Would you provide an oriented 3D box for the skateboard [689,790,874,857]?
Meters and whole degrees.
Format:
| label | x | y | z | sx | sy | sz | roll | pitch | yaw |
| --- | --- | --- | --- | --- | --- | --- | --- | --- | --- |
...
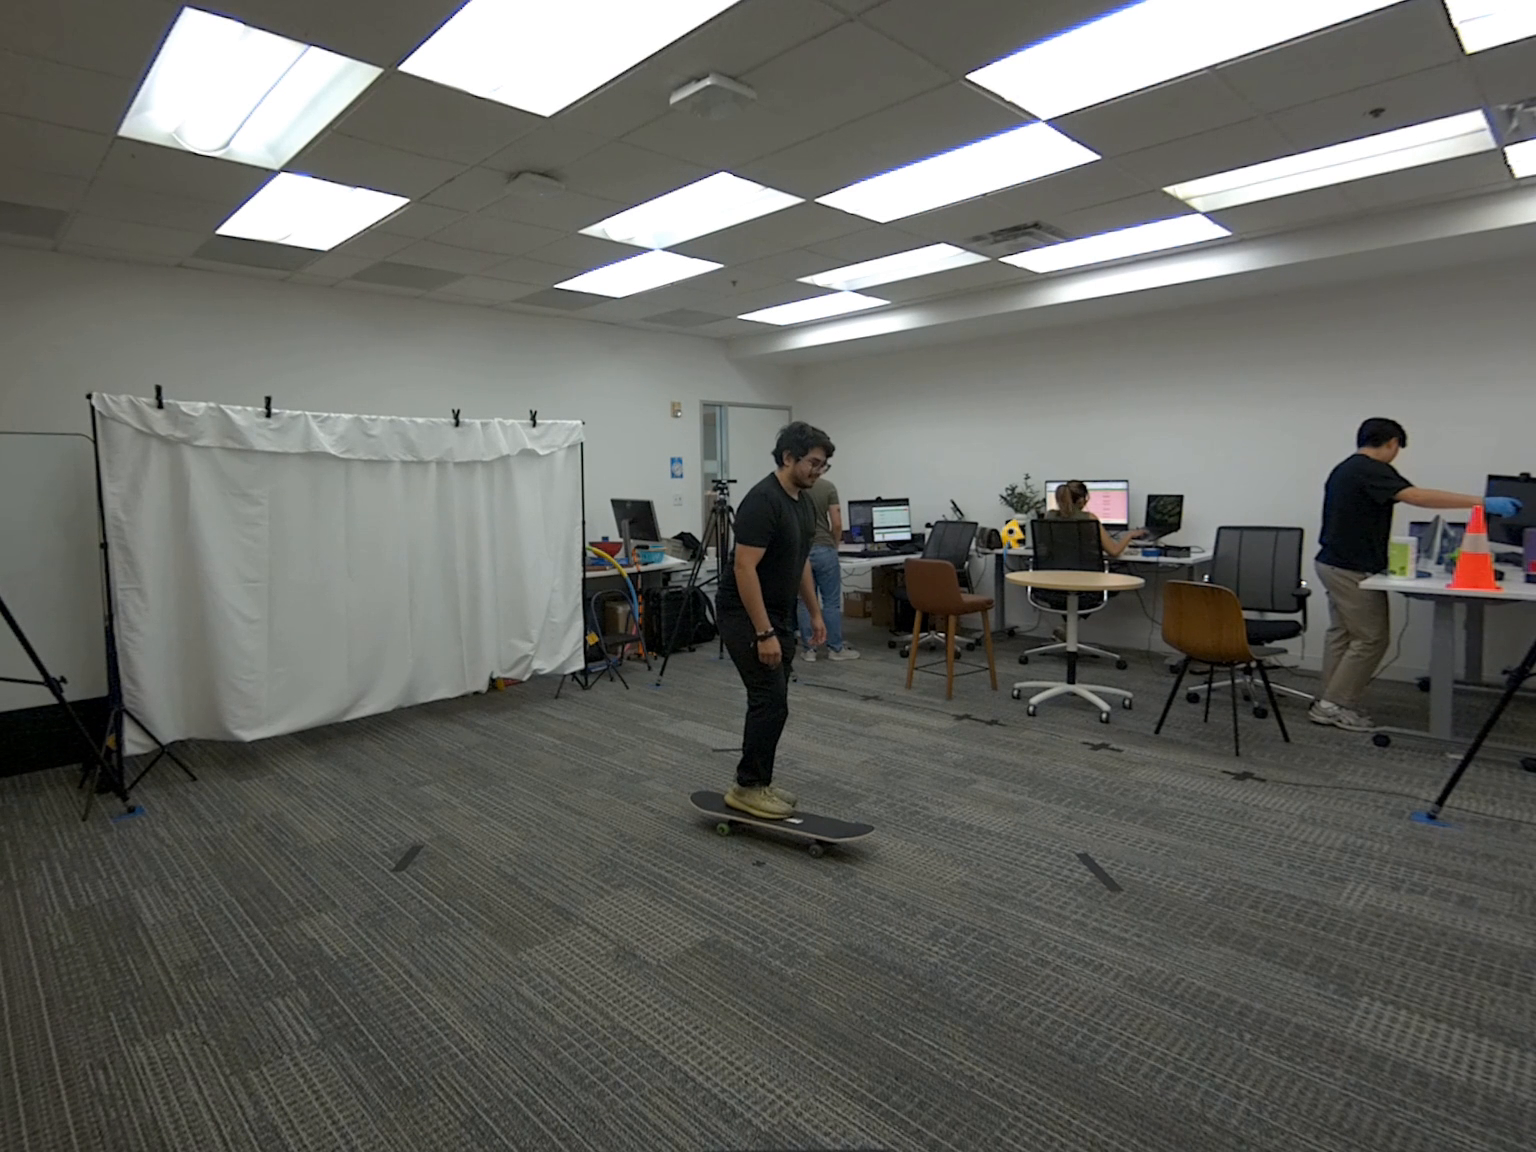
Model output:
| label | x | y | z | sx | sy | sz | roll | pitch | yaw |
| --- | --- | --- | --- | --- | --- | --- | --- | --- | --- |
| skateboard | 0.043 | 0.970 | 3.328 | 0.806 | 0.110 | 0.189 | 3 | 5 | 31 |
